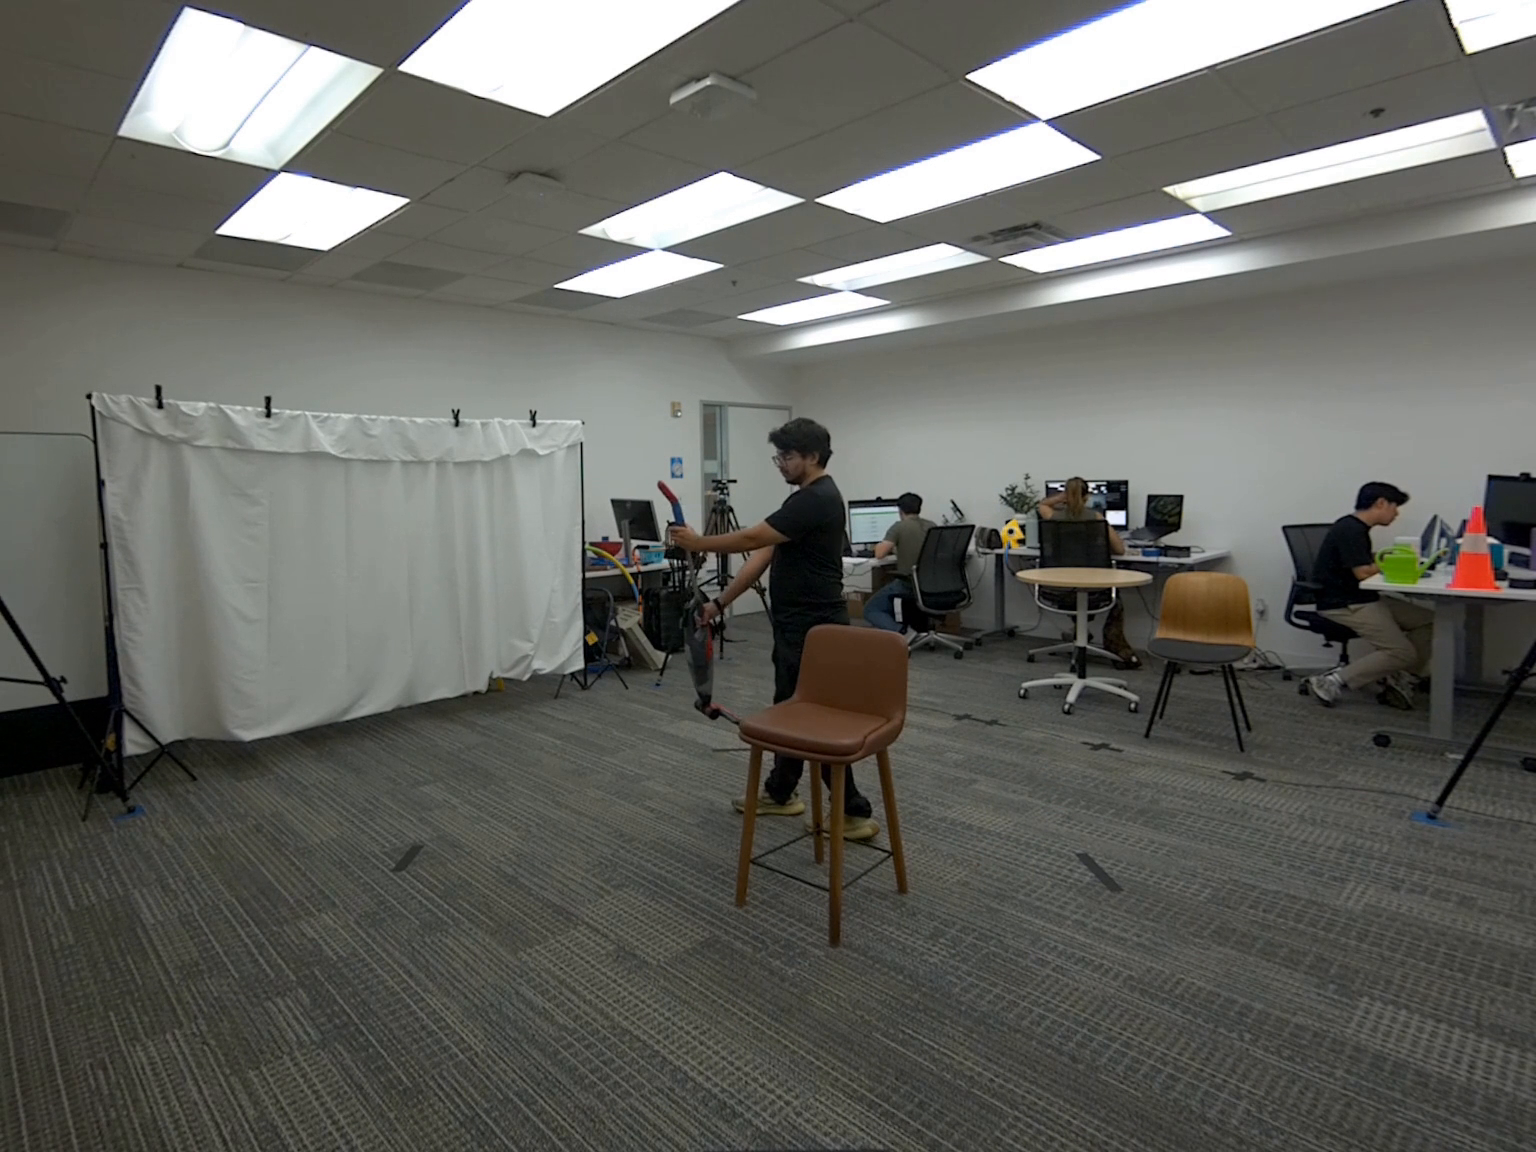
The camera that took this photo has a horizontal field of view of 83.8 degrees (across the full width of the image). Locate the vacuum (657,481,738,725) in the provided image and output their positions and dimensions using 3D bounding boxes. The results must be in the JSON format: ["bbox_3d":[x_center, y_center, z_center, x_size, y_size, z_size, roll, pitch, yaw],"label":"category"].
[{"bbox_3d":[-0.322,0.112,3.523,0.142,1.029,0.261,-20,20,-24],"label":"vacuum"}]
